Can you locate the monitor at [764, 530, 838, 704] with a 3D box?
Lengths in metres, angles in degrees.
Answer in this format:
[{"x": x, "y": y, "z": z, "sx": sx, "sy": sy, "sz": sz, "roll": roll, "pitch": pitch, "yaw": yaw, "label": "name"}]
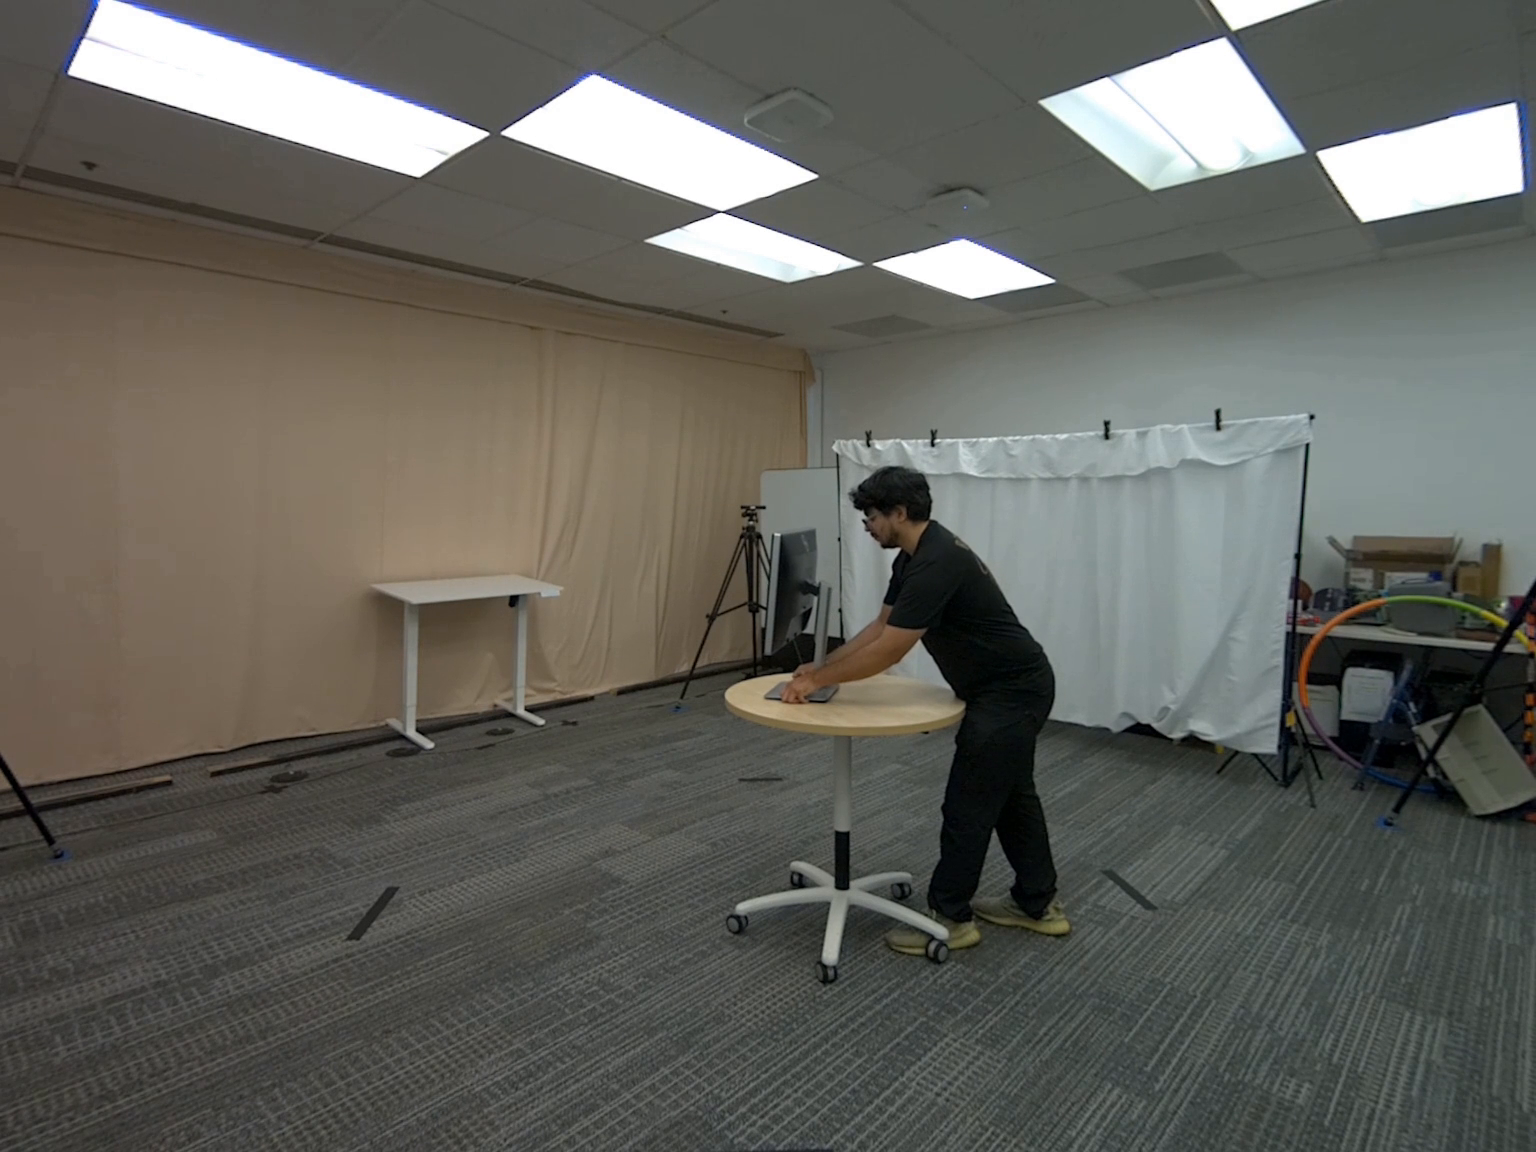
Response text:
[{"x": 0.142, "y": 0.124, "z": 2.733, "sx": 0.214, "sy": 0.552, "sz": 0.557, "roll": 2, "pitch": 5, "yaw": 15, "label": "monitor"}]
